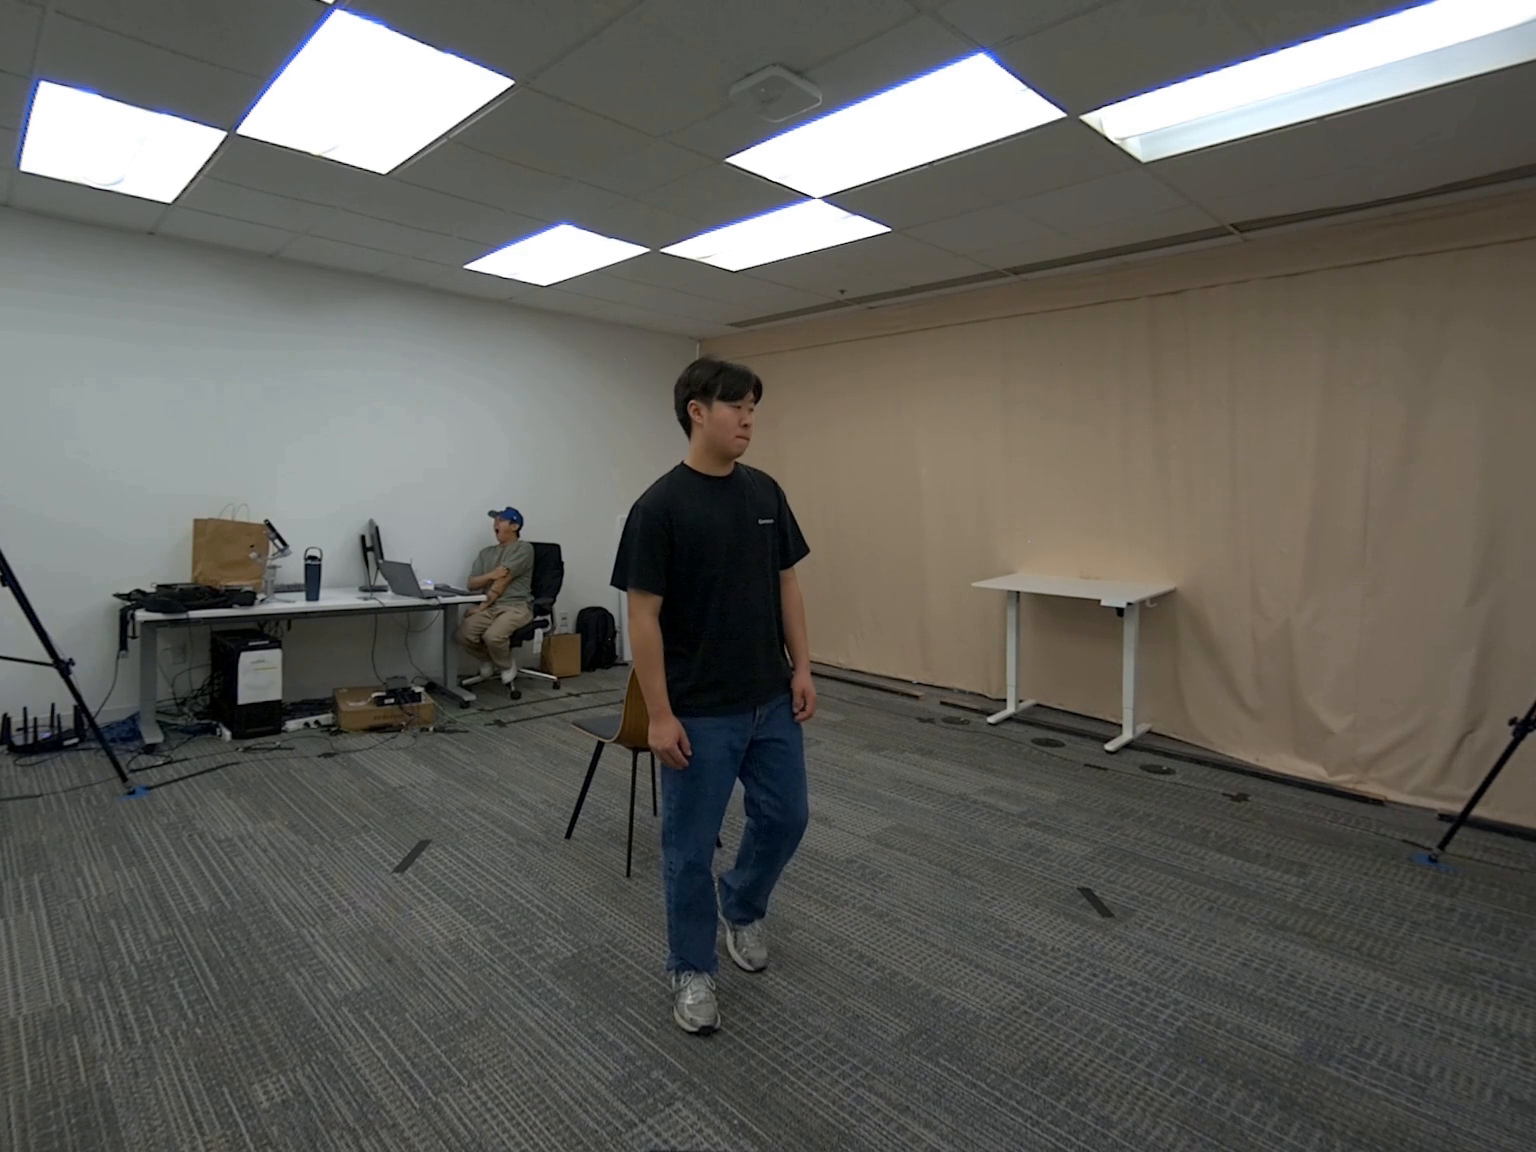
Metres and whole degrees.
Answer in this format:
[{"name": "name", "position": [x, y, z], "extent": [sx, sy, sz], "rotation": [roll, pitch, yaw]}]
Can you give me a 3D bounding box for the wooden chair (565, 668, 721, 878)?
[{"name": "wooden chair", "position": [-0.500, 0.648, 3.357], "extent": [0.467, 0.873, 0.537], "rotation": [-2, 9, -42]}]
